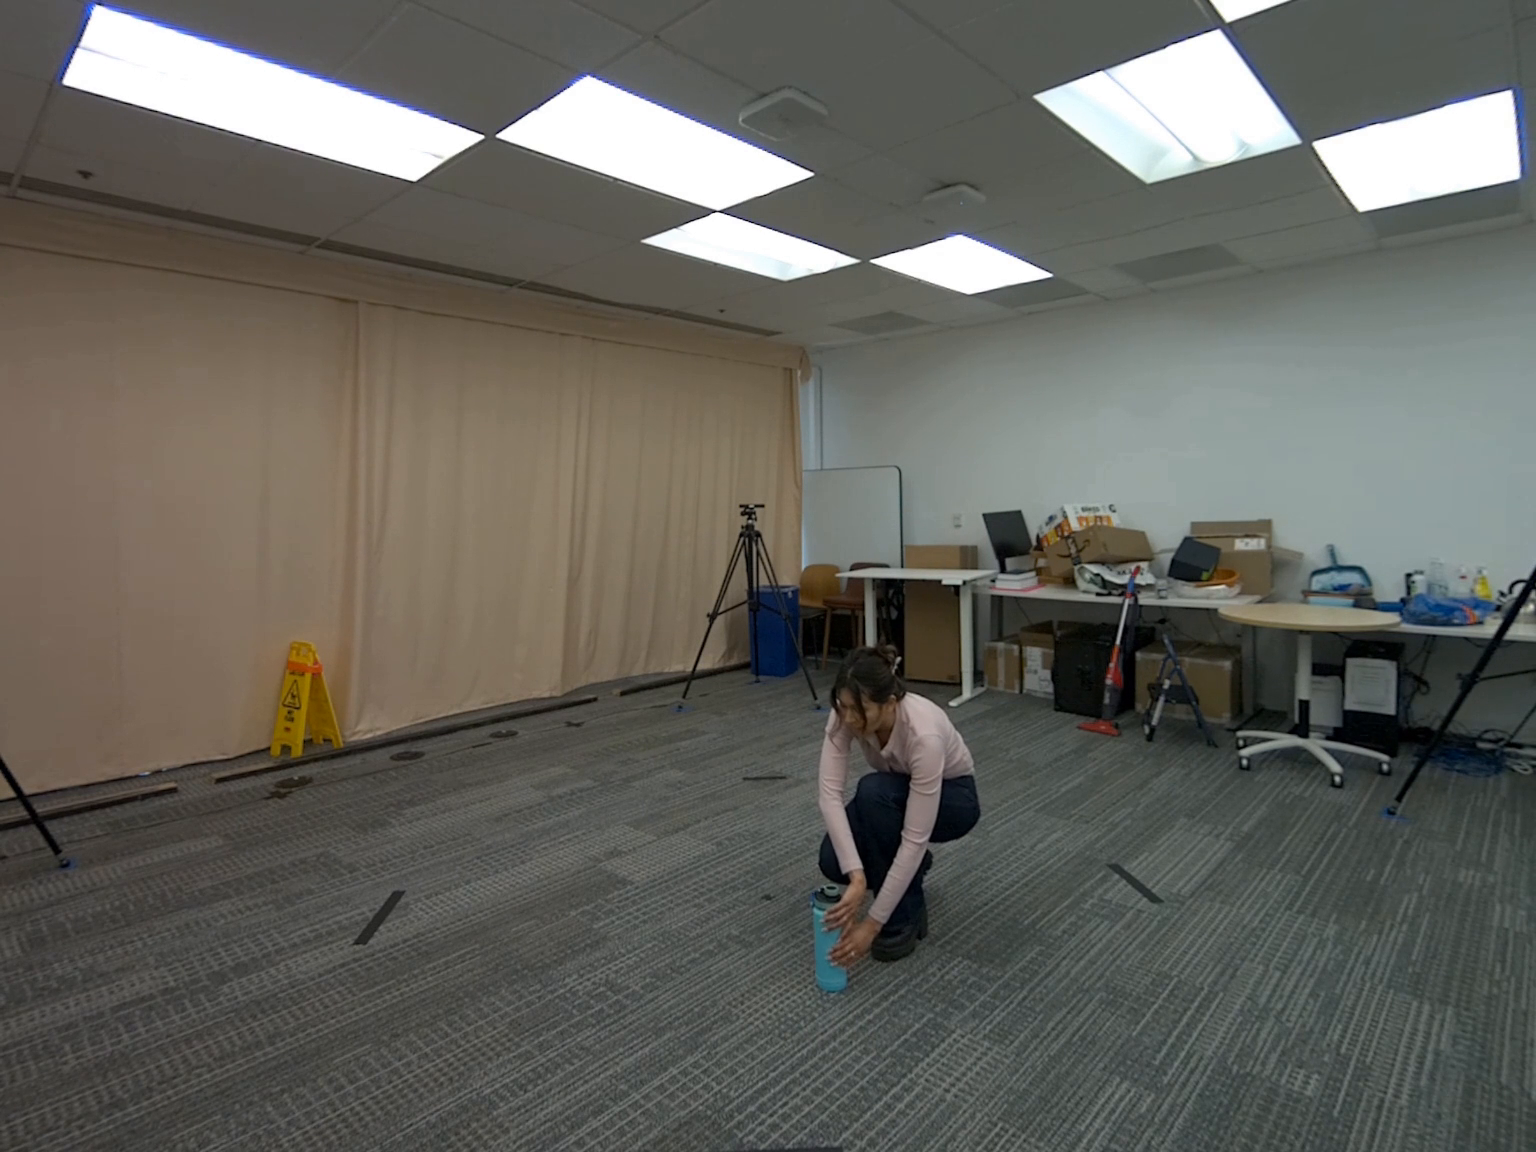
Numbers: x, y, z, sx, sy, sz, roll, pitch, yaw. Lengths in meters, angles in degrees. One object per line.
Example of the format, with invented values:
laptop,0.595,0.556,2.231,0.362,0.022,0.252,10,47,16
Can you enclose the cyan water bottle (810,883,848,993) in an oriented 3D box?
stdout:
cyan water bottle,0.180,1.049,2.440,0.092,0.284,0.092,-3,-2,-2
